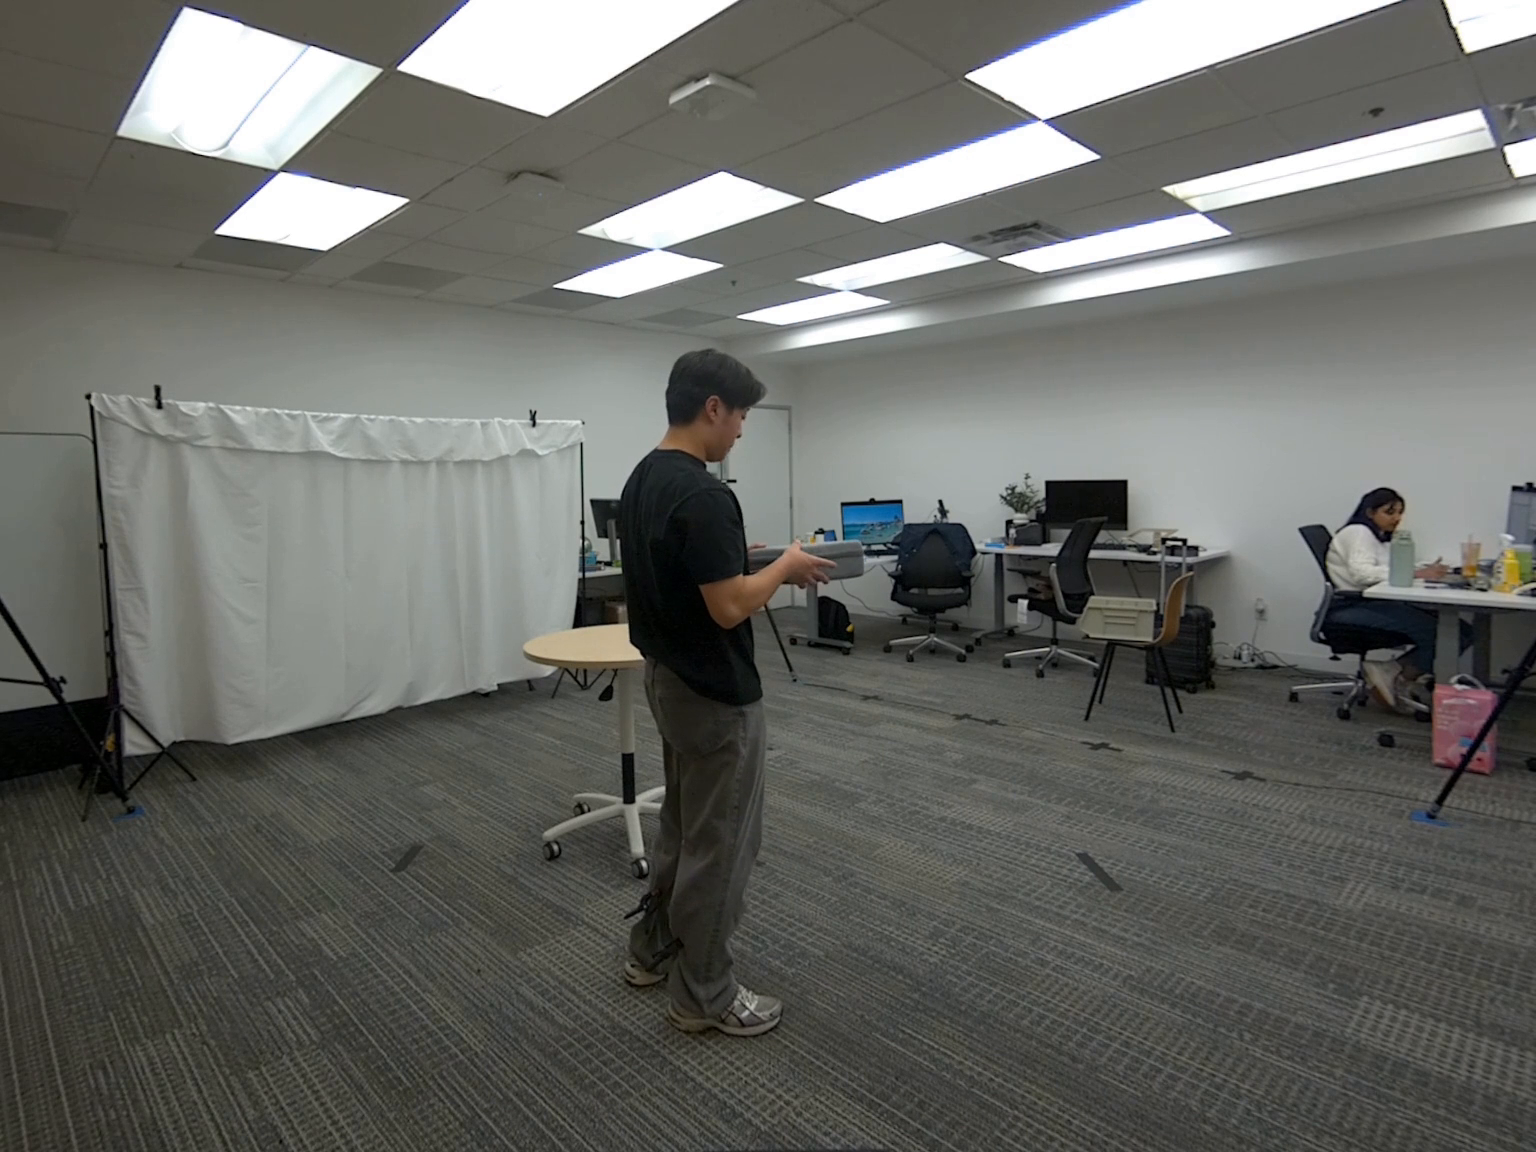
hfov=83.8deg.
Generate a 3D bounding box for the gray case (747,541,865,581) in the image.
[{"bbox_3d":[0.097,-0.036,2.372,0.284,0.103,0.267,-6,3,-14],"label":"gray case"}]
